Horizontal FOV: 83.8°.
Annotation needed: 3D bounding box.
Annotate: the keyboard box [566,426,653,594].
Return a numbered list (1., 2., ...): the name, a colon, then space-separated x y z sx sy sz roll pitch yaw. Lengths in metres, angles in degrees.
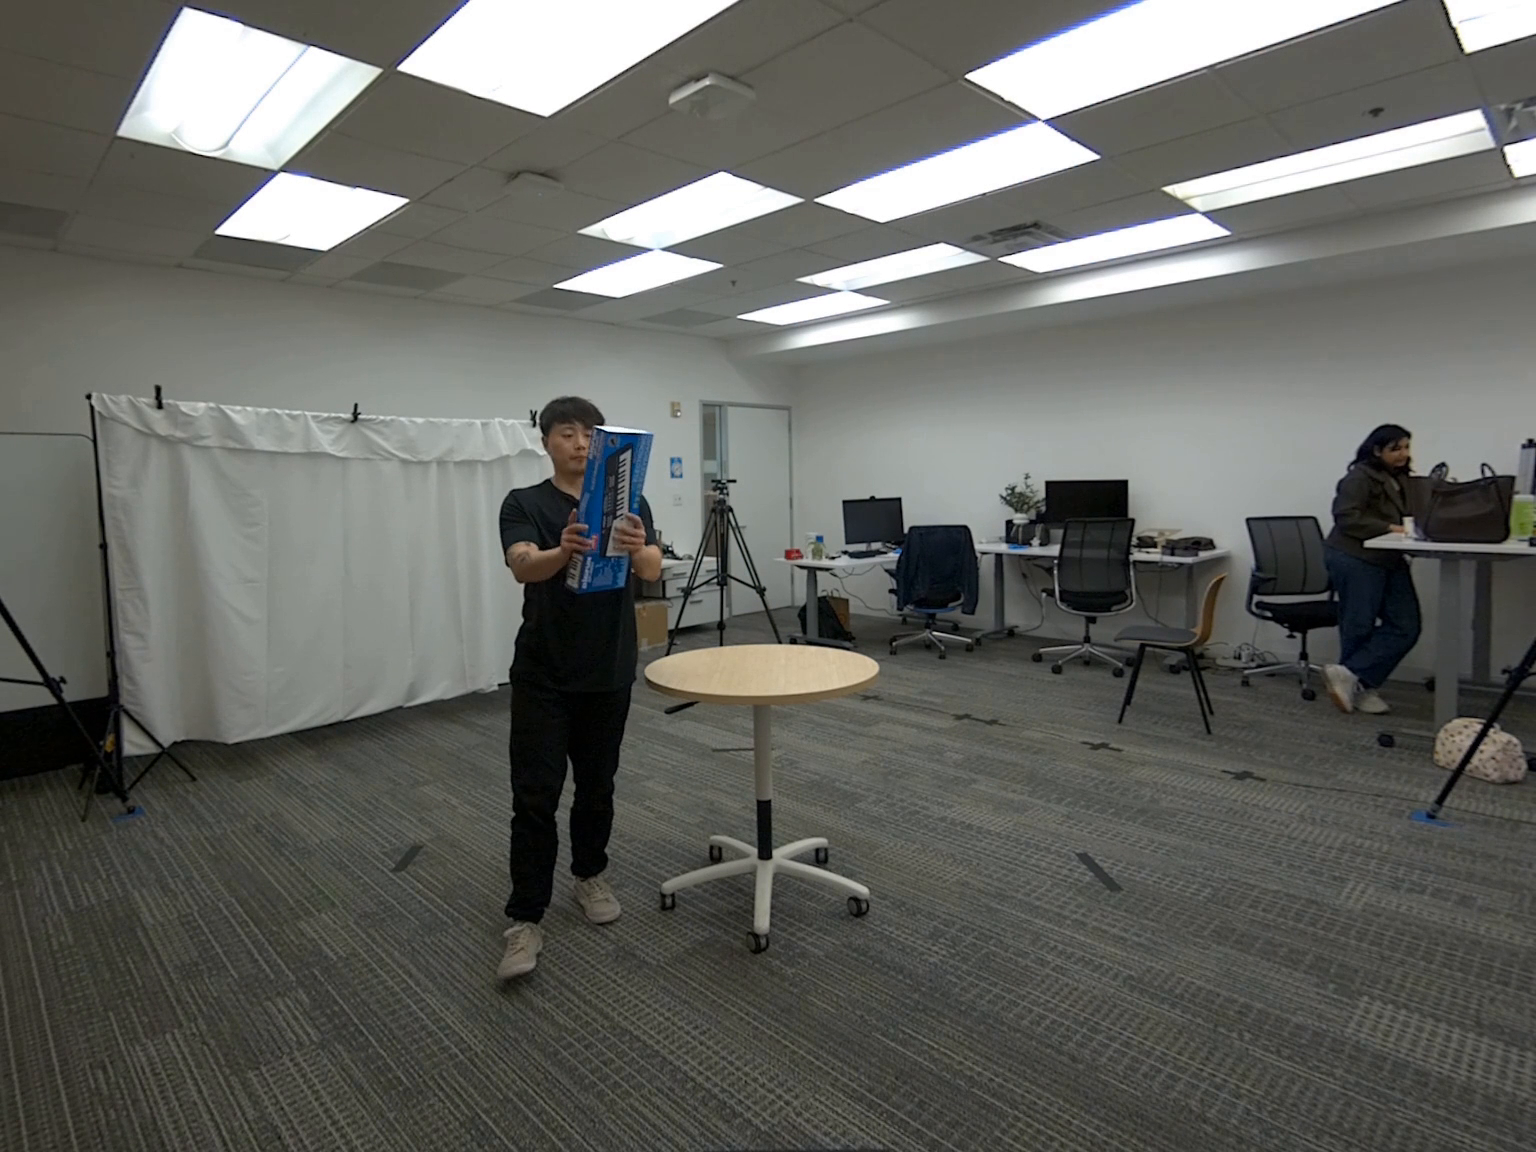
1. keyboard box: -0.424 -0.175 2.273 0.061 0.433 0.171 21 15 34
